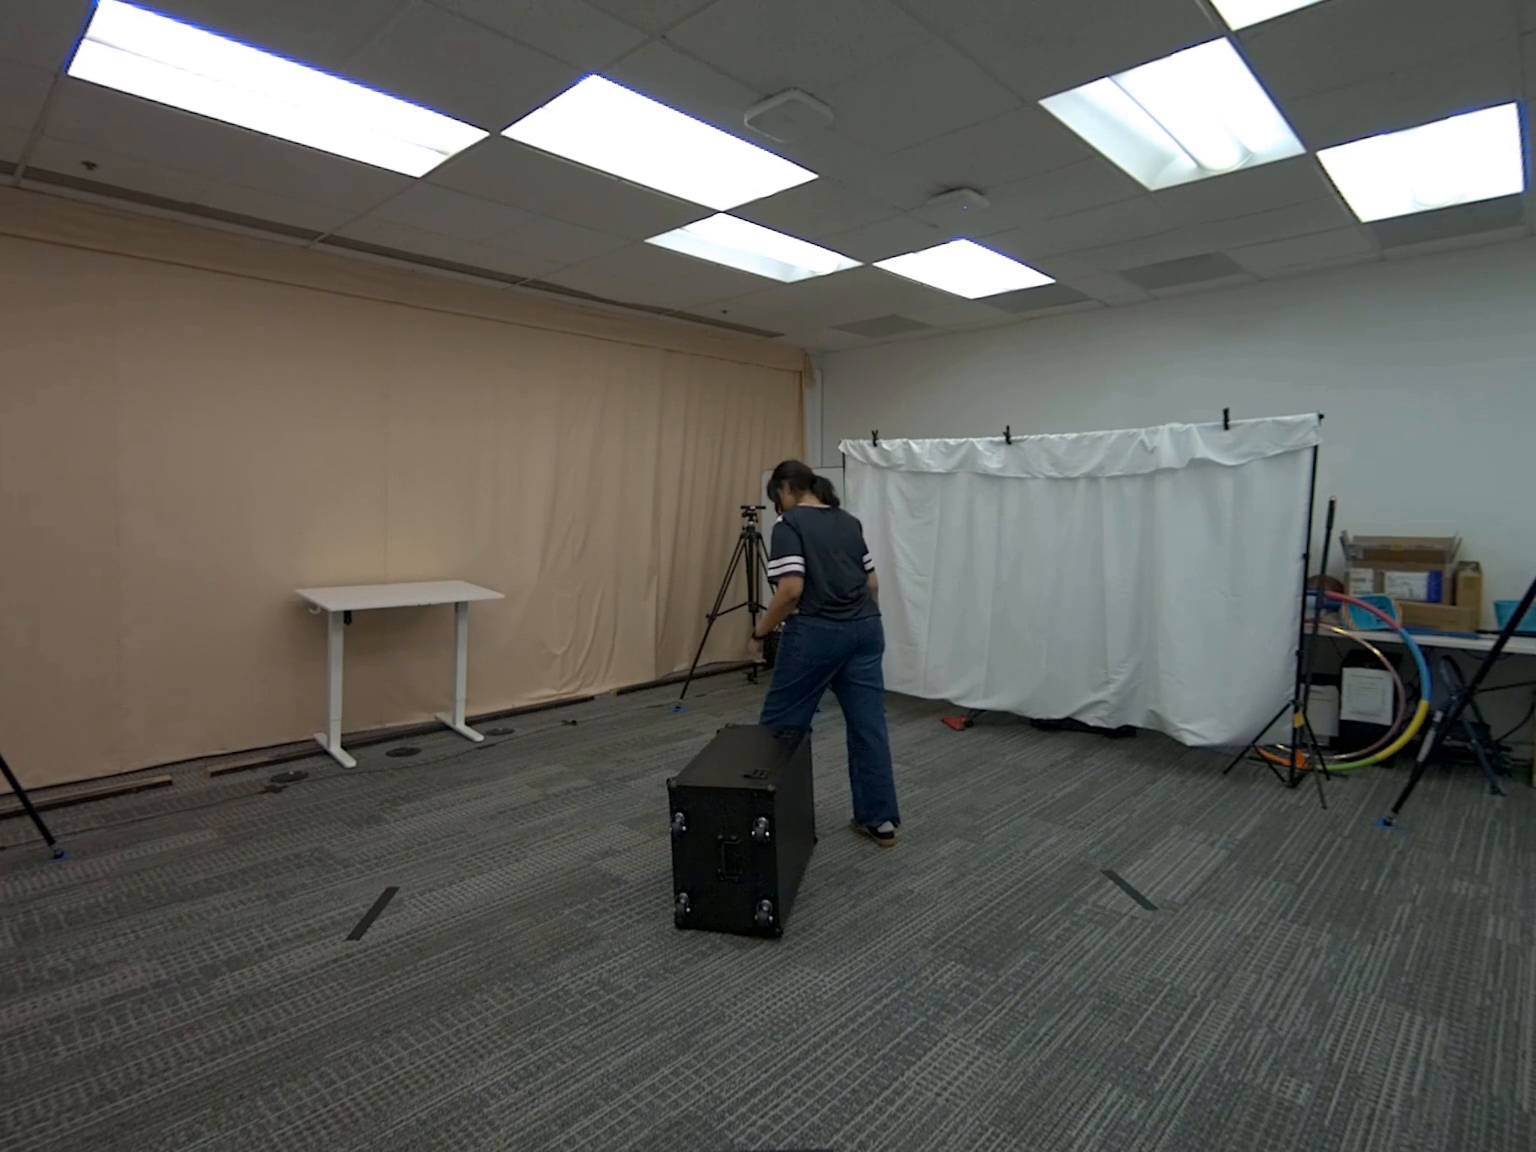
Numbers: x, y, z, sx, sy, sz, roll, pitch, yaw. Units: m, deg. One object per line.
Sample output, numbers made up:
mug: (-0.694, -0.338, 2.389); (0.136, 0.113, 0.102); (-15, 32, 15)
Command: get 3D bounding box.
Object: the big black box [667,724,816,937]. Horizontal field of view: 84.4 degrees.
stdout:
big black box: (-0.076, 0.880, 3.056); (0.391, 0.522, 0.857); (0, 4, 13)
